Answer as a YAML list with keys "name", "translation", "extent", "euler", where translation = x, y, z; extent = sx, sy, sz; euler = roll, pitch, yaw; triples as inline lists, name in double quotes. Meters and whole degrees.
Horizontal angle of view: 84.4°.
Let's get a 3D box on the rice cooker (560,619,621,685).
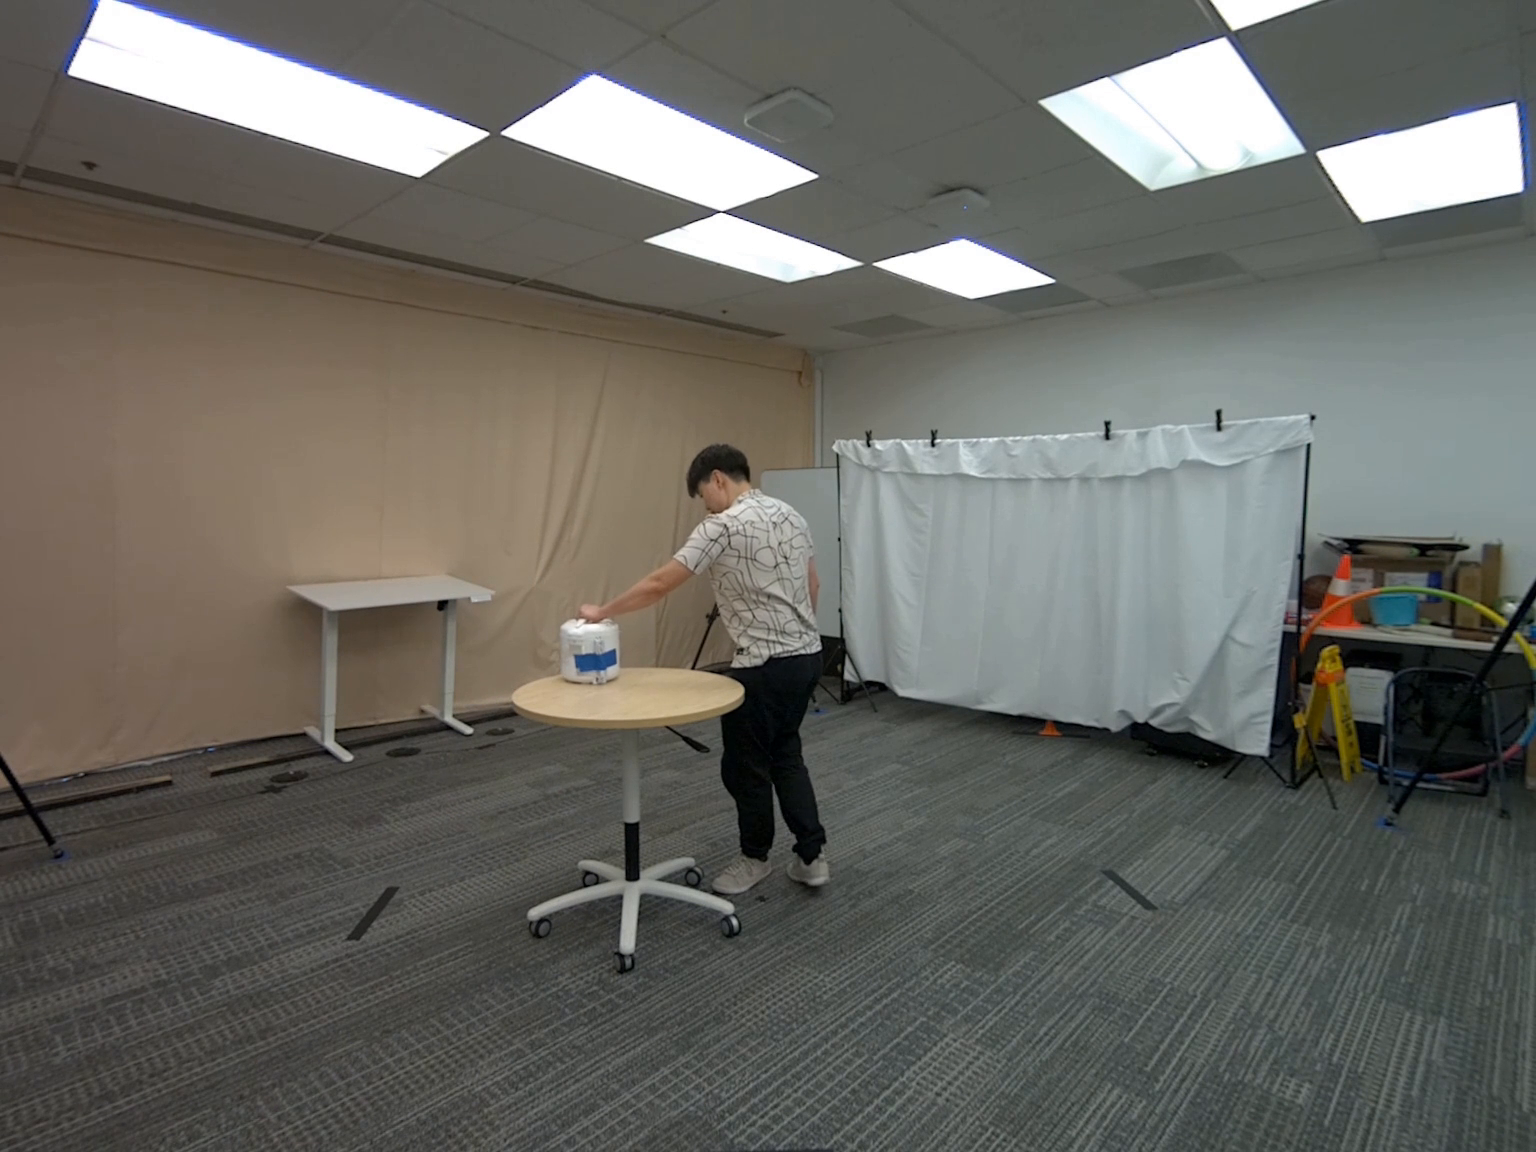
- name: "rice cooker"
  translation: [-0.632, 0.254, 2.978]
  extent: [0.222, 0.232, 0.216]
  euler: [1, 4, 19]
